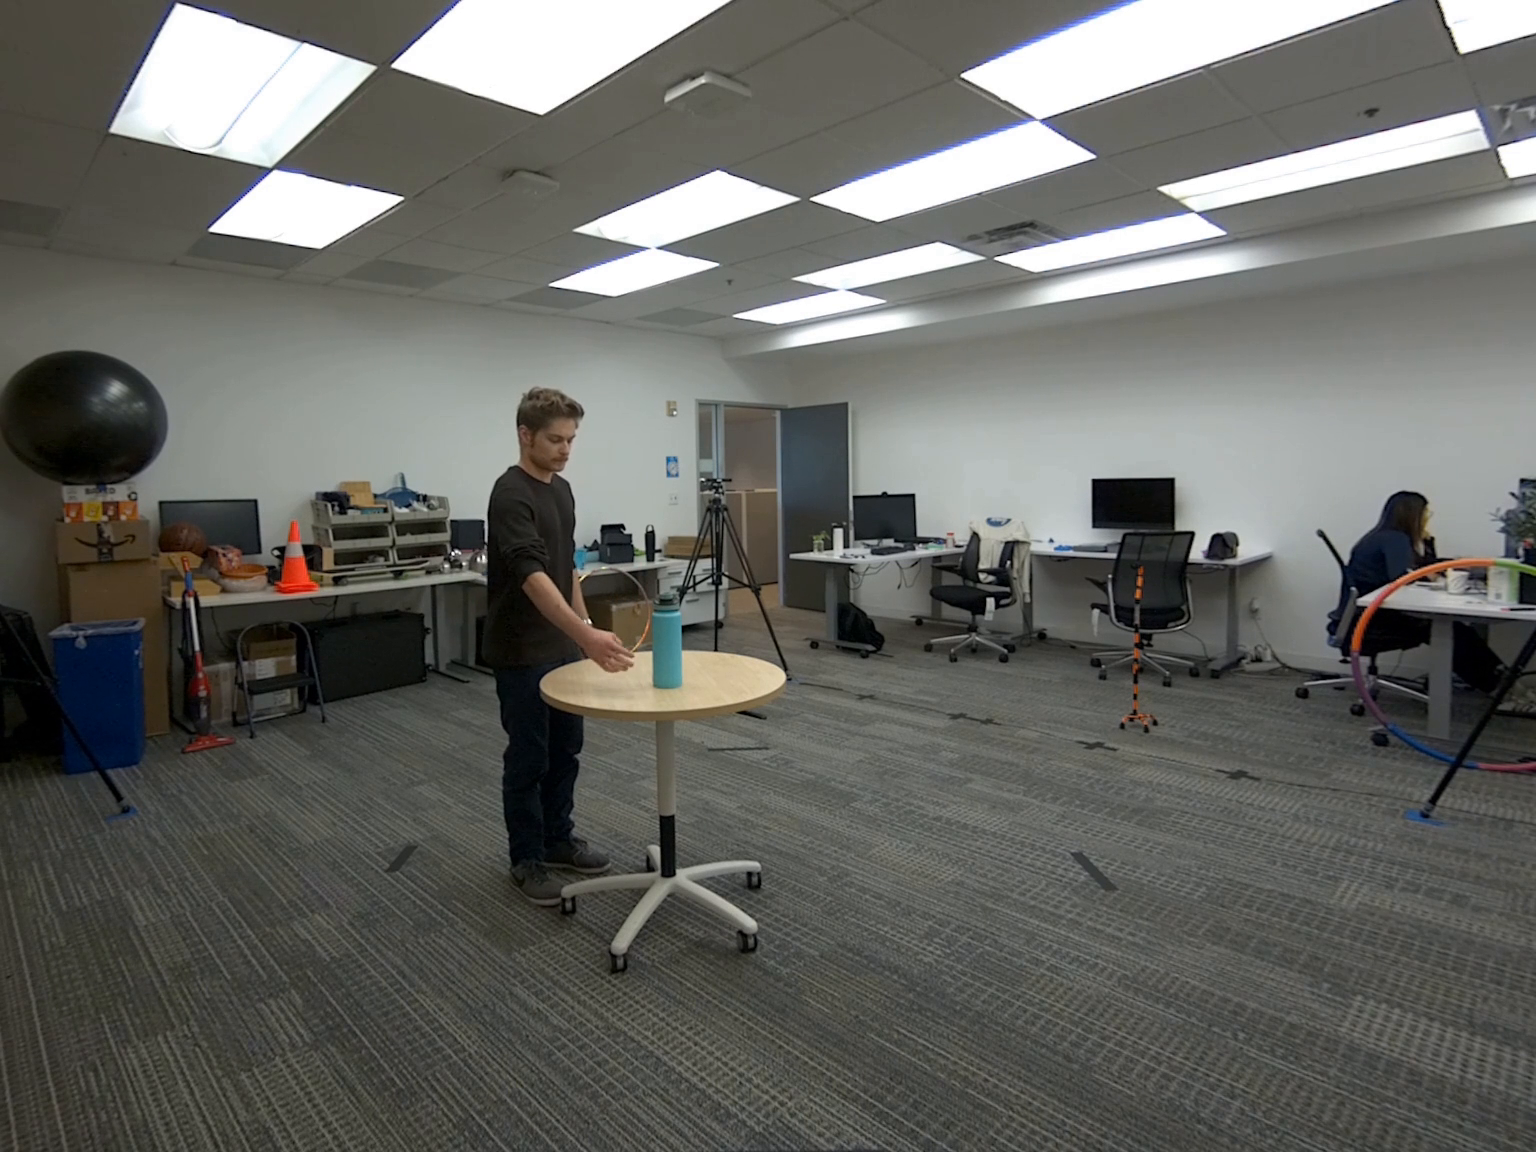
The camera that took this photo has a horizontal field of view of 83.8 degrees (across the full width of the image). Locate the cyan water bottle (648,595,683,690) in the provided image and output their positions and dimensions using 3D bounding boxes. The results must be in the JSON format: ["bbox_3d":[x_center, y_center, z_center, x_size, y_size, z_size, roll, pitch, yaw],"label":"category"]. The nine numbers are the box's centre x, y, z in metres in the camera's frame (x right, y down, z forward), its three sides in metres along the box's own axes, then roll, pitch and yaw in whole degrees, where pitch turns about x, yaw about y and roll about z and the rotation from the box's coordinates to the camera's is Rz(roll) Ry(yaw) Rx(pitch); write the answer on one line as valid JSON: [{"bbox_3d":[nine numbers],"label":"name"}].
[{"bbox_3d":[-0.305,0.191,2.562,0.092,0.282,0.093,-2,3,-2],"label":"cyan water bottle"}]
